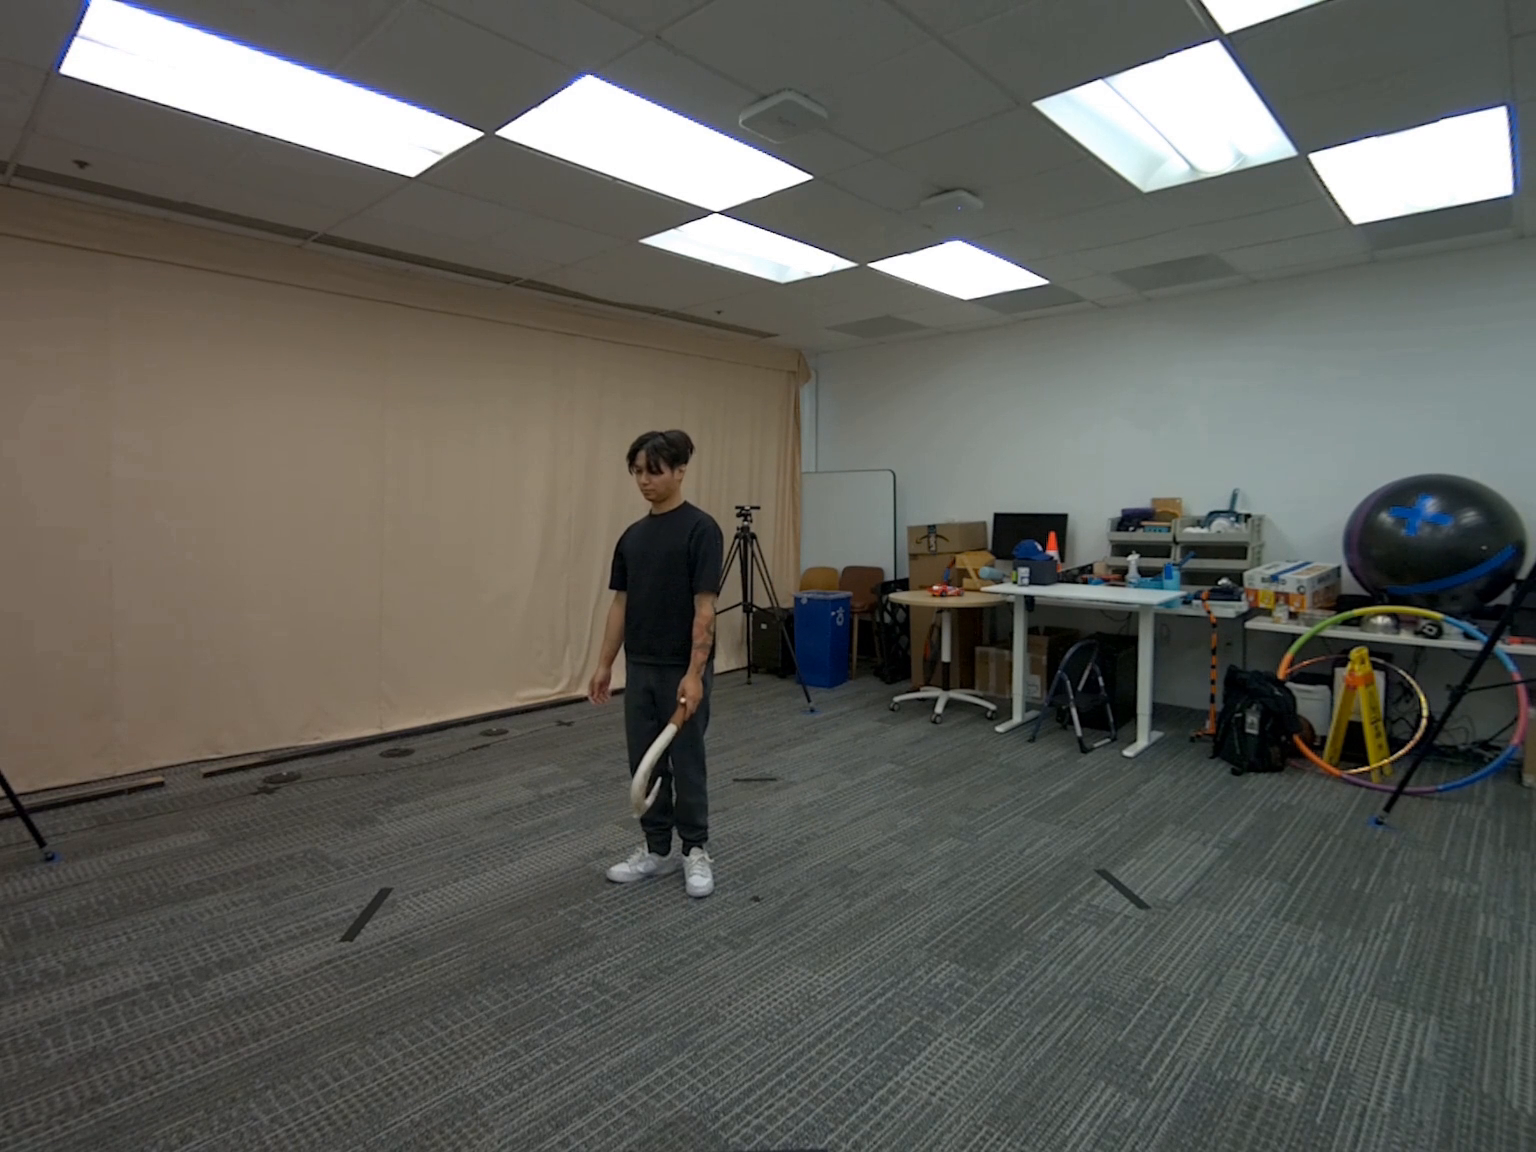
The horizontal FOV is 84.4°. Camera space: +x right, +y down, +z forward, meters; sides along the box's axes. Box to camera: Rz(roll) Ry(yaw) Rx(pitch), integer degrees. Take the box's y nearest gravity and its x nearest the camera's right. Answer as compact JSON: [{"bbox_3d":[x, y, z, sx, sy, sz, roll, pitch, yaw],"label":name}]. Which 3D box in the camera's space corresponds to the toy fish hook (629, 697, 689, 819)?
[{"bbox_3d":[-0.335,0.567,2.773,0.049,0.221,0.506,17,40,11],"label":"toy fish hook"}]
